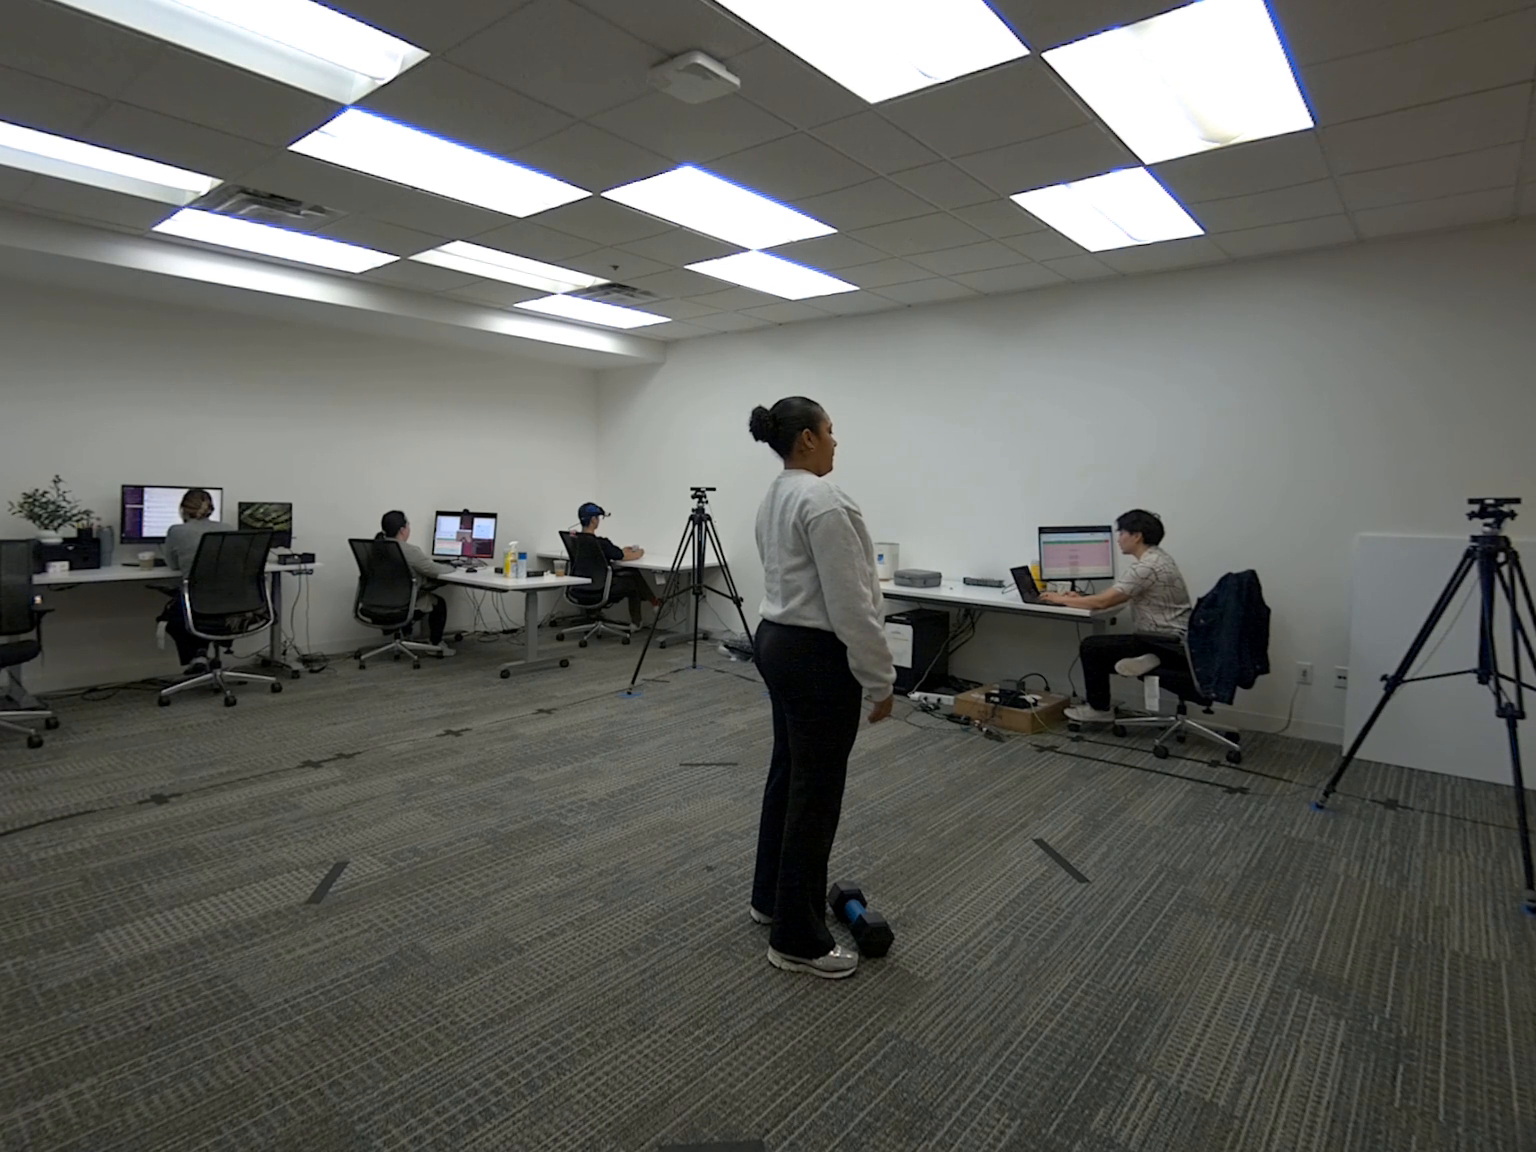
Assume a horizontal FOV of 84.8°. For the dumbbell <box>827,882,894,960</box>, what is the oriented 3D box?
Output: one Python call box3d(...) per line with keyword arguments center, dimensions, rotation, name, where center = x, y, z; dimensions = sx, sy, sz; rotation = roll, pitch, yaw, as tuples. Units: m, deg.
box3d(center=(0.277, 1.073, 2.660), dimensions=(0.108, 0.121, 0.299), rotation=(-31, 13, -11), name="dumbbell")
